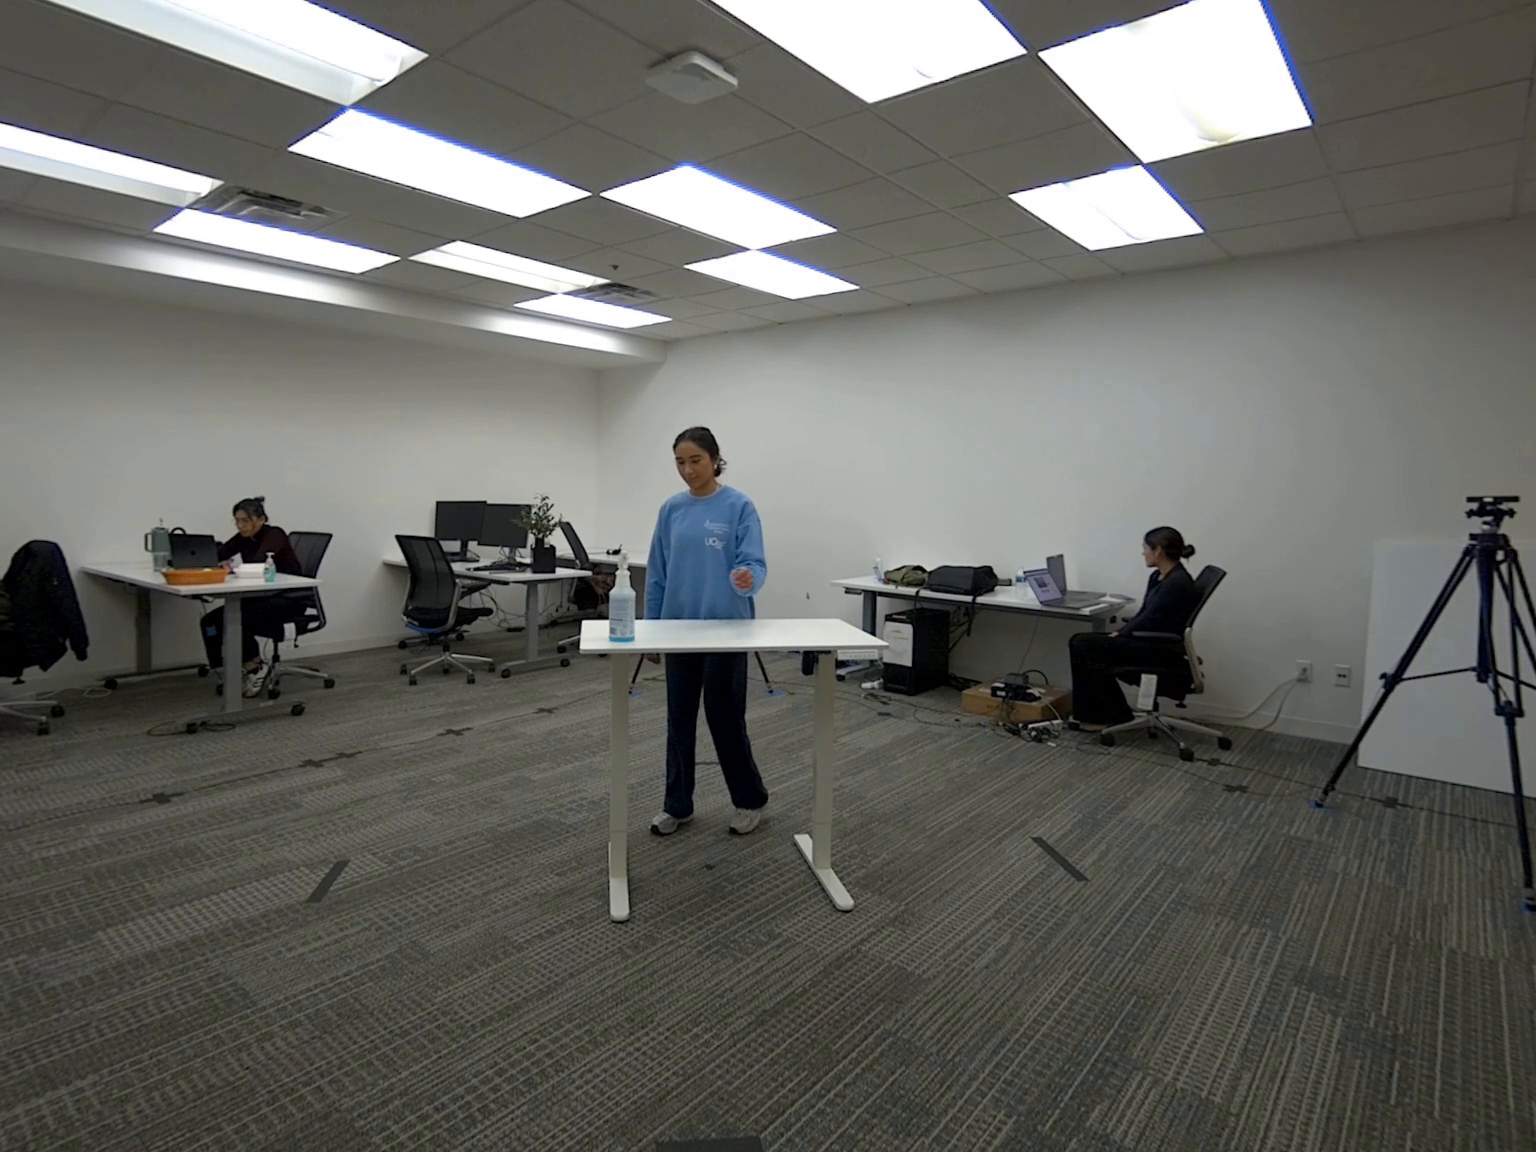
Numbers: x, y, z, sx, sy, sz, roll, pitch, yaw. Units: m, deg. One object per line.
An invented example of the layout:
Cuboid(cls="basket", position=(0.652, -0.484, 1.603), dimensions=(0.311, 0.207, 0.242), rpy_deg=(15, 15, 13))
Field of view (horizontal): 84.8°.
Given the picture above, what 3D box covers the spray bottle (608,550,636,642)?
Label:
Cuboid(cls="spray bottle", position=(-0.495, 0.063, 2.801), dimensions=(0.088, 0.296, 0.089), rpy_deg=(3, 3, 10))
